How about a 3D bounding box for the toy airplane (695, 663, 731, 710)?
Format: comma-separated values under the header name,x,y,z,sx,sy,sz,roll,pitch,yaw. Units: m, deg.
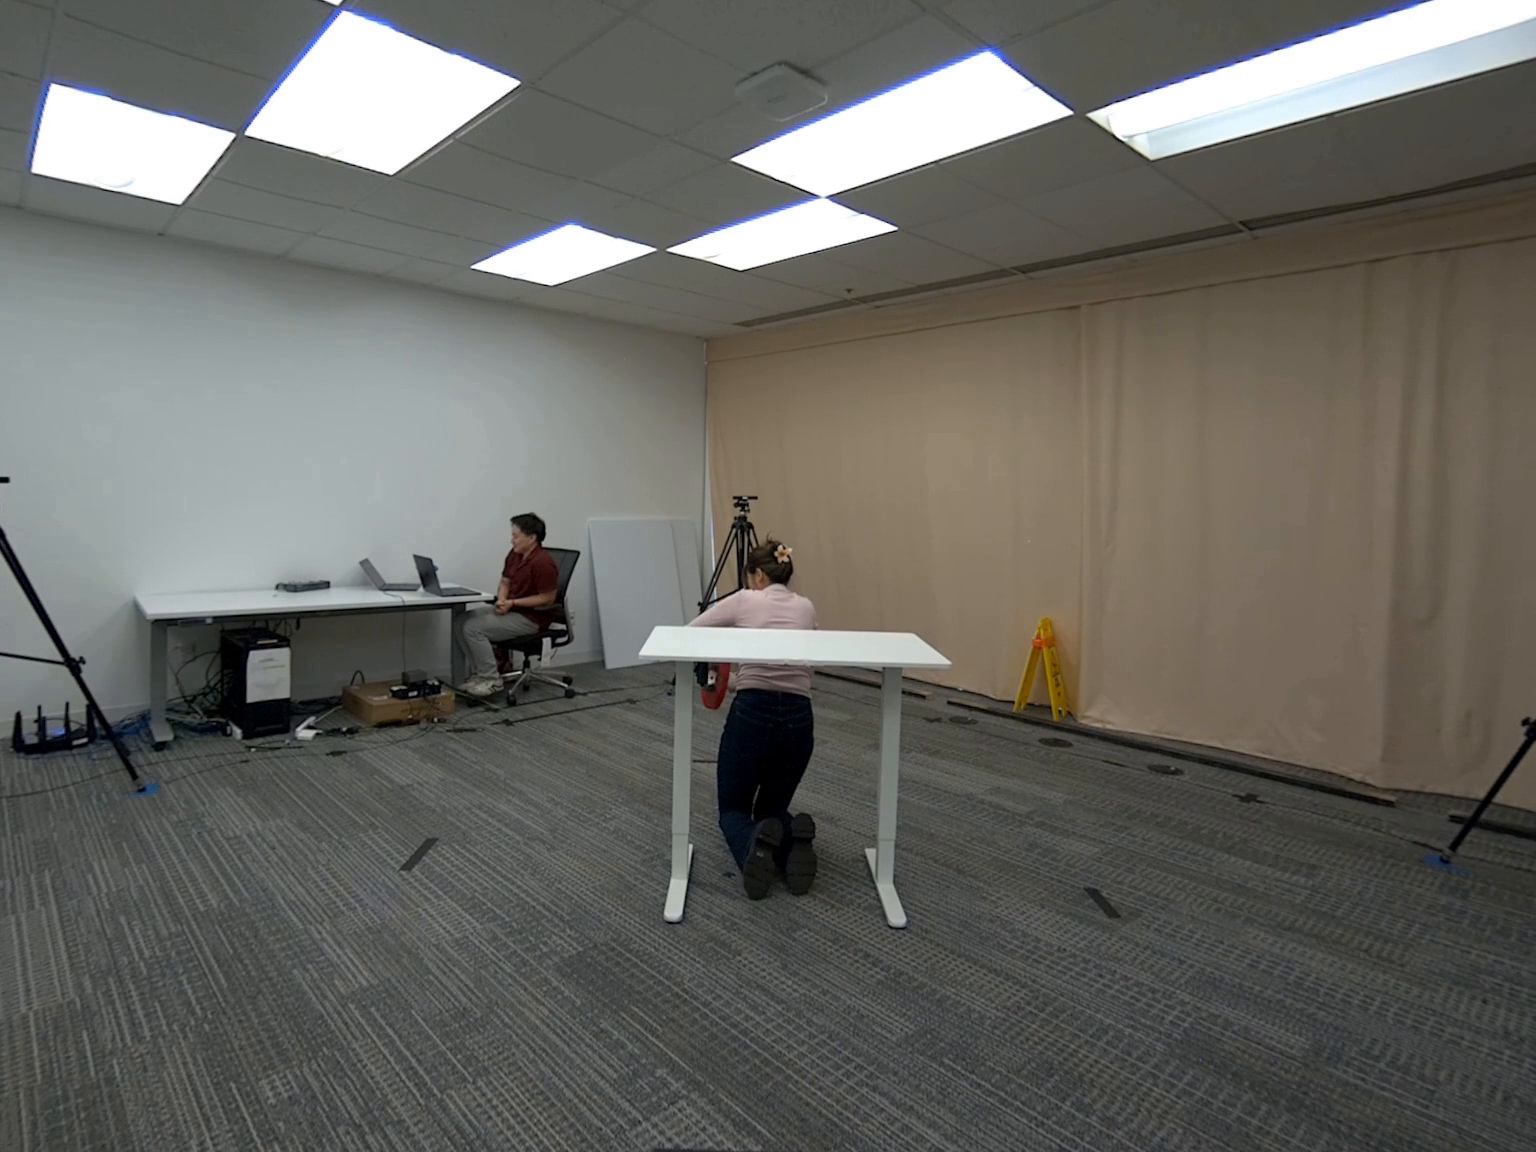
name,x,y,z,sx,sy,sz,roll,pitch,yaw
toy airplane,-0.193,0.474,3.623,0.251,0.257,0.158,-44,8,-9
